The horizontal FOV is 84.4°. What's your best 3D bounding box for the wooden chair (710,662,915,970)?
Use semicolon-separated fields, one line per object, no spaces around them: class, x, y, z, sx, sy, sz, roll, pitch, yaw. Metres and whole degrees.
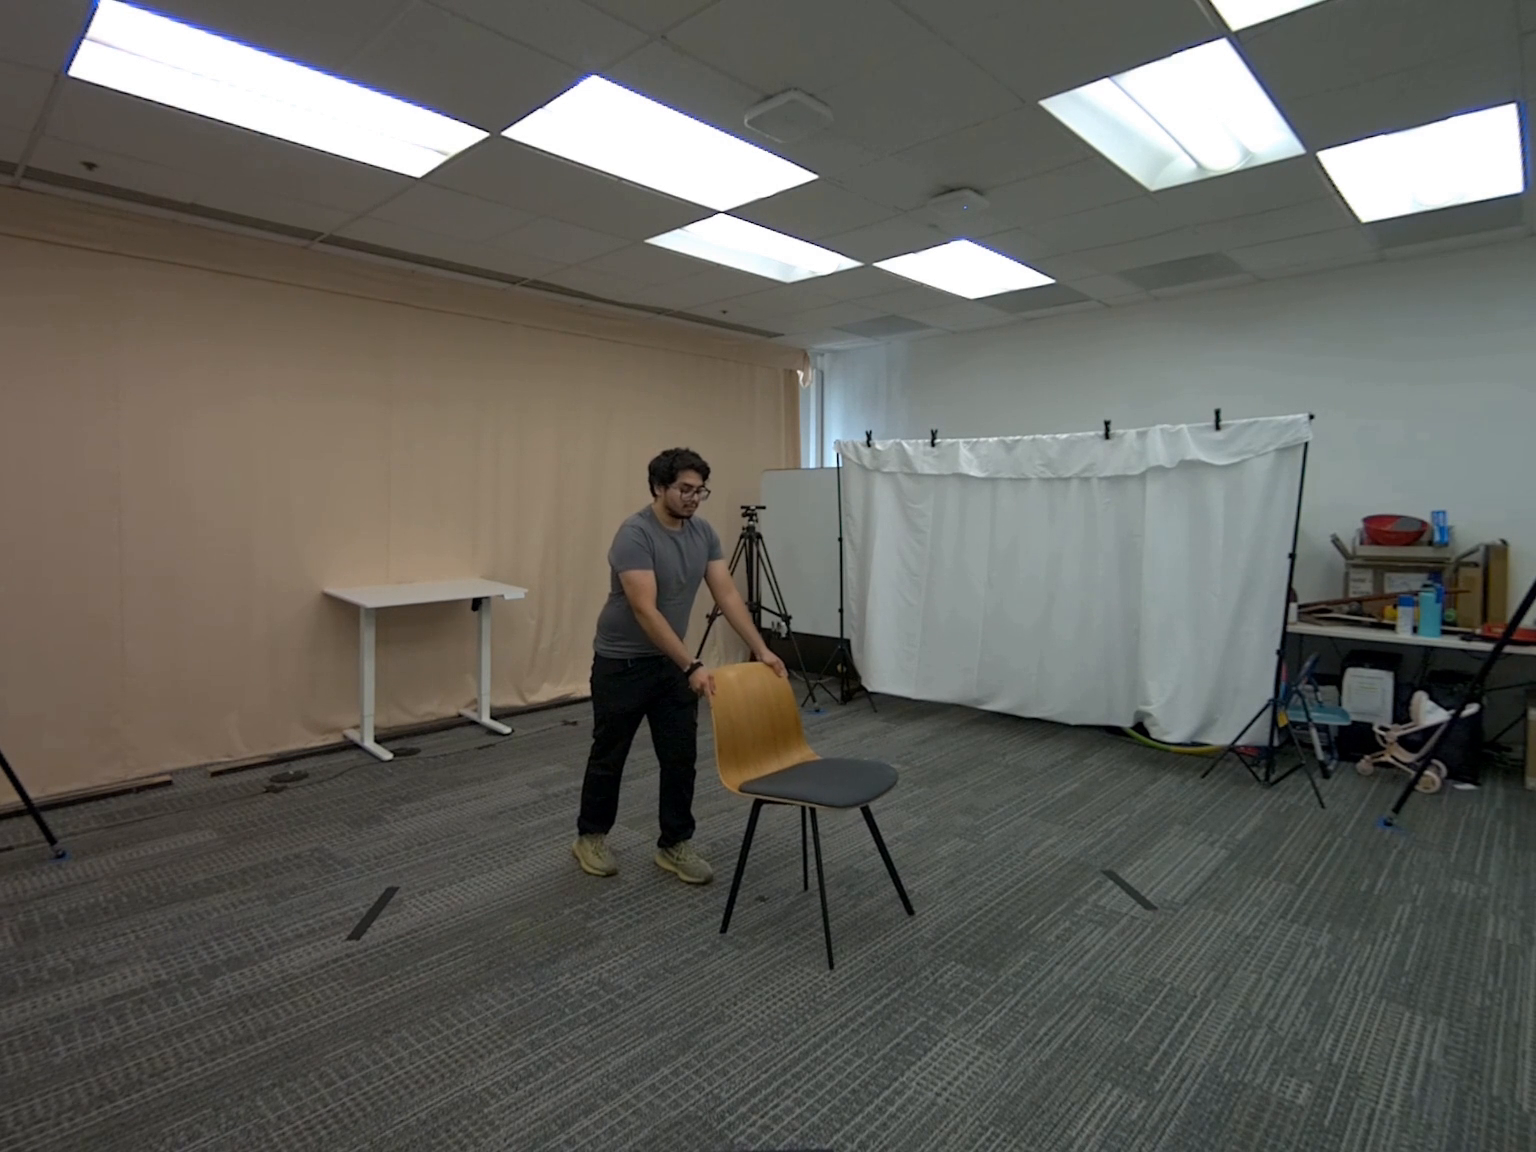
wooden chair;0.129;0.708;2.749;0.537;0.881;0.463;-13;-7;43
